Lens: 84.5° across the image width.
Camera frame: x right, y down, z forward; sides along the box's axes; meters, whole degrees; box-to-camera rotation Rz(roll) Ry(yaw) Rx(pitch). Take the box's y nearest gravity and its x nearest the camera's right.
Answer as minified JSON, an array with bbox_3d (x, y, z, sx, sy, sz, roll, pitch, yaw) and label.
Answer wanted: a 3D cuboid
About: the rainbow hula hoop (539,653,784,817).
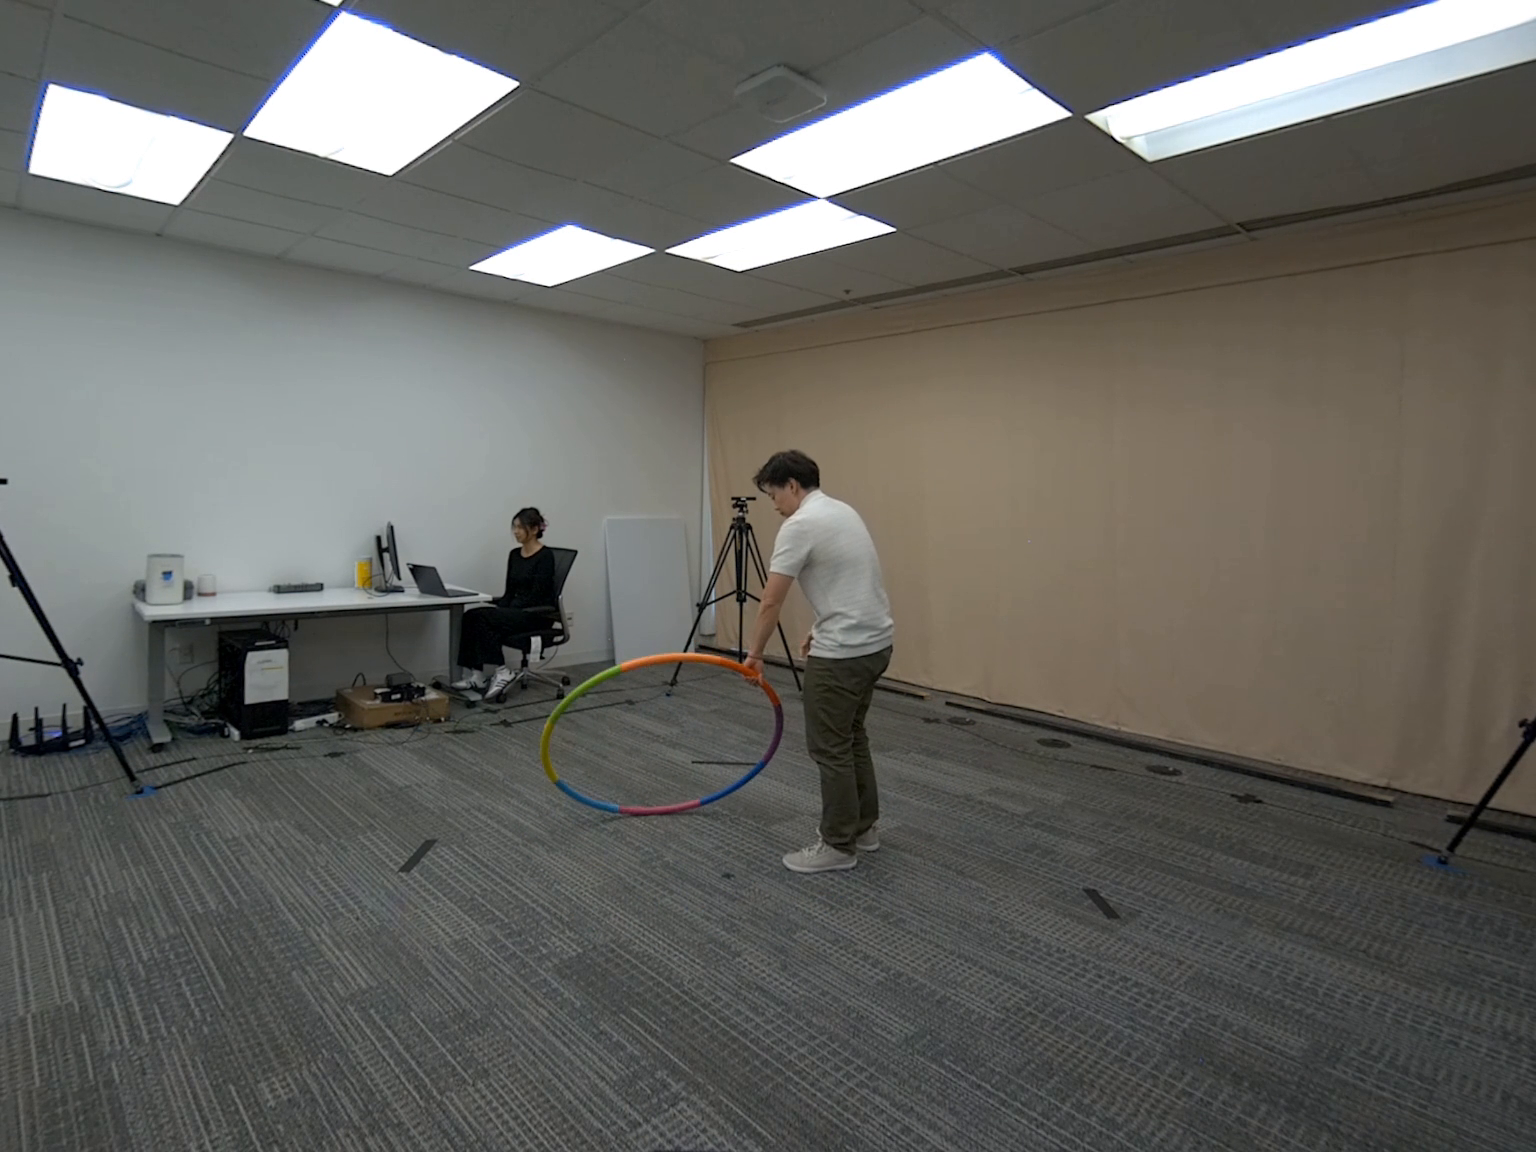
[{"bbox_3d":[-0.435,0.660,3.413,0.967,0.963,0.036,1,40,-16],"label":"rainbow hula hoop"}]
